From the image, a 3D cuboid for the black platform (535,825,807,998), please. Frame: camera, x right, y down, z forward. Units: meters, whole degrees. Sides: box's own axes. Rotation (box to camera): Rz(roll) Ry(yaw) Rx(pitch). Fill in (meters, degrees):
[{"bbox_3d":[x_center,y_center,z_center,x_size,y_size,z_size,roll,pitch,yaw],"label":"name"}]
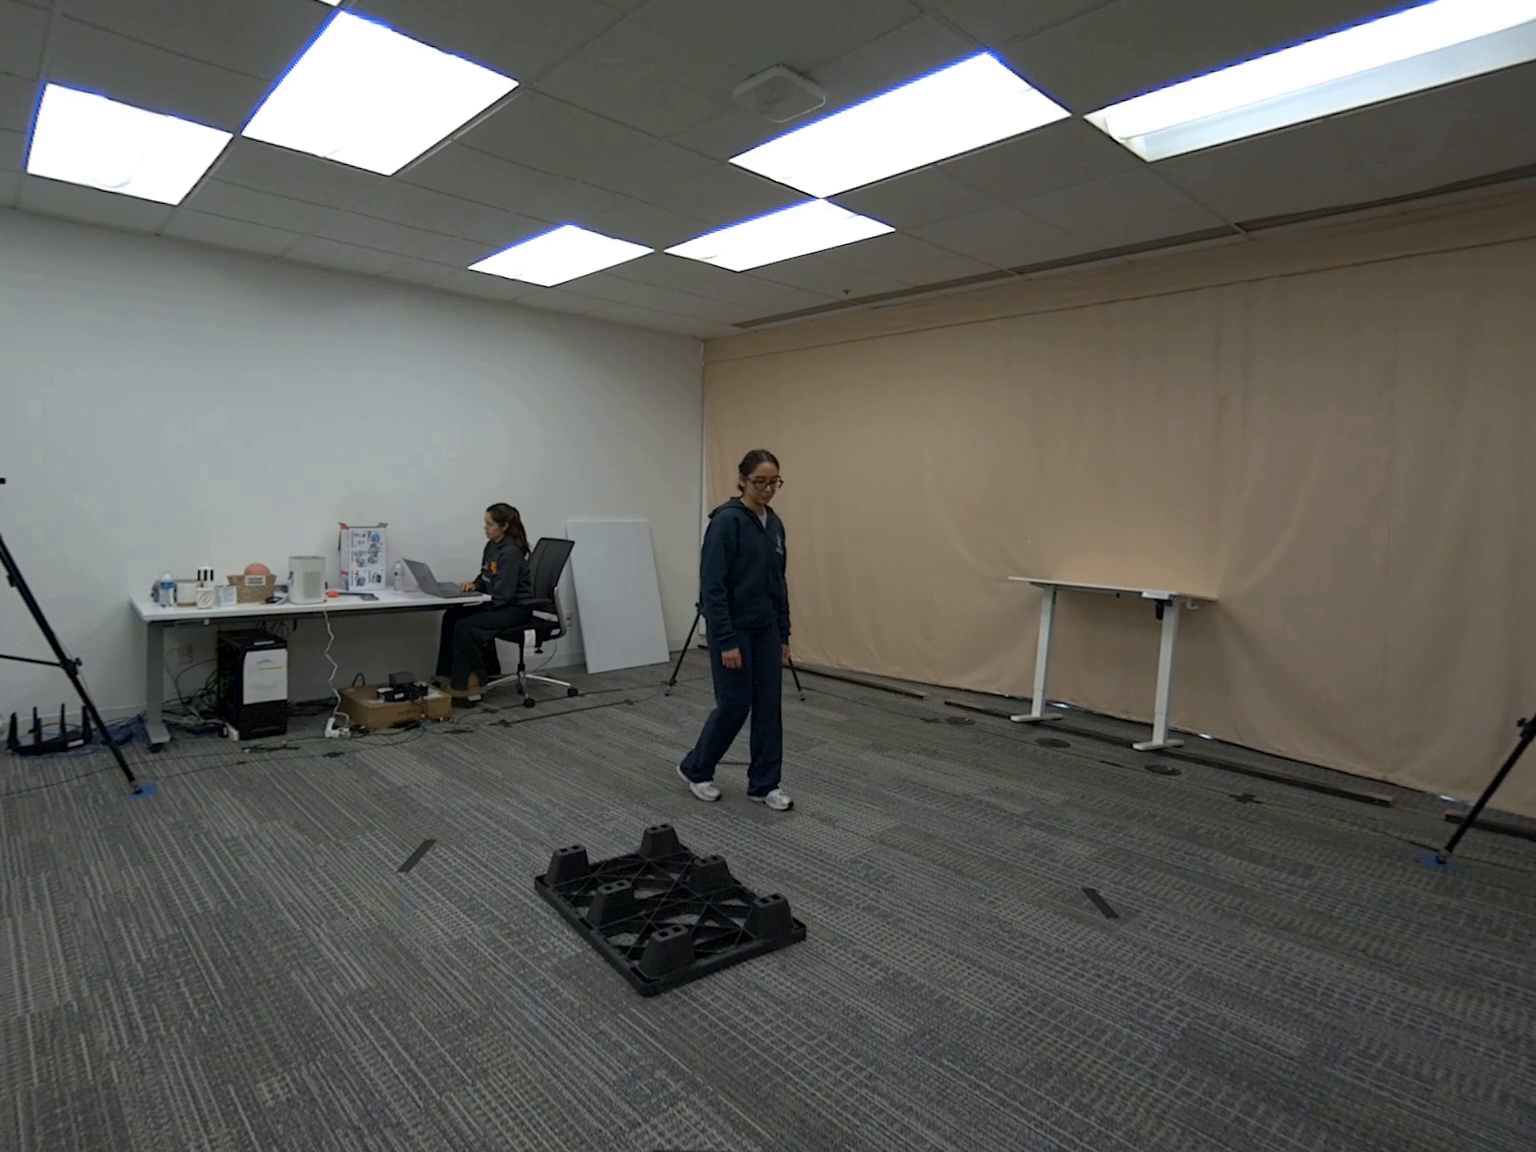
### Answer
[{"bbox_3d":[-0.345,1.059,2.819,0.592,0.143,0.826,-4,8,-37],"label":"black platform"}]
